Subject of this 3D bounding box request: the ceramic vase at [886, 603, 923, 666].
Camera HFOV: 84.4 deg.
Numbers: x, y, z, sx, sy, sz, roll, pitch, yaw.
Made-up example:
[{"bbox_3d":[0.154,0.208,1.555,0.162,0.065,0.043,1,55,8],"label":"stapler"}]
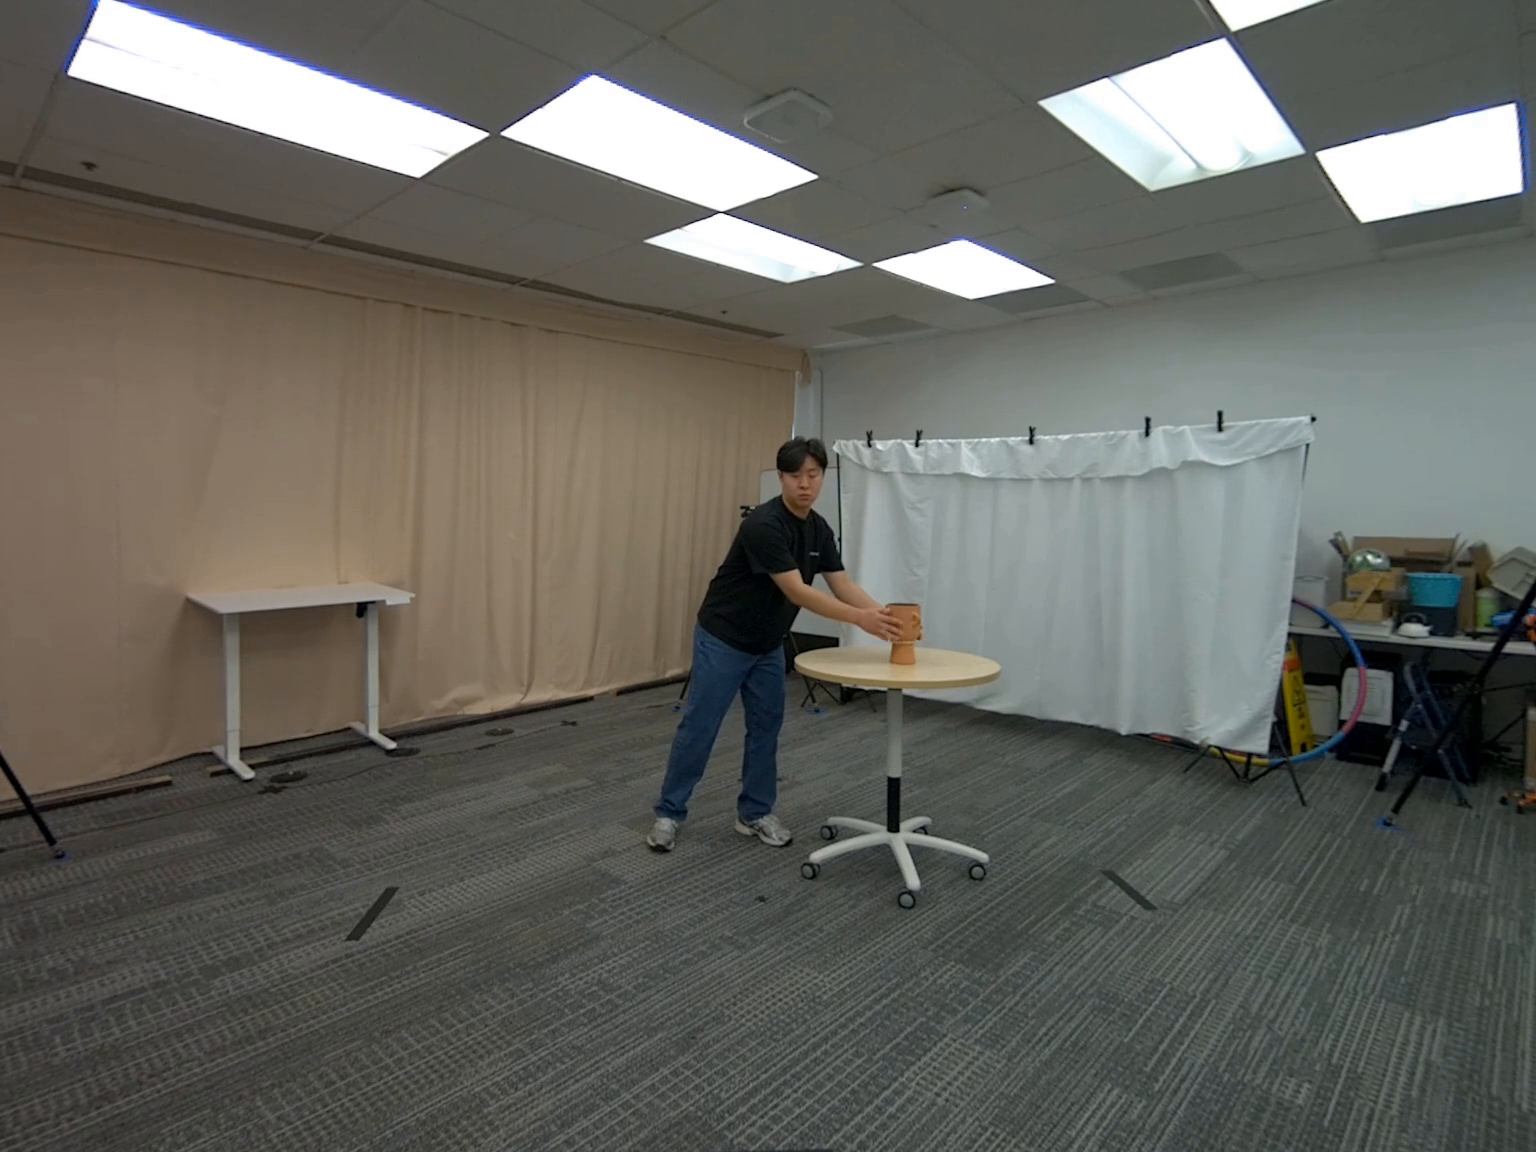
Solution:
[{"bbox_3d":[0.522,0.223,3.191,0.136,0.219,0.157,0,2,11],"label":"ceramic vase"}]
